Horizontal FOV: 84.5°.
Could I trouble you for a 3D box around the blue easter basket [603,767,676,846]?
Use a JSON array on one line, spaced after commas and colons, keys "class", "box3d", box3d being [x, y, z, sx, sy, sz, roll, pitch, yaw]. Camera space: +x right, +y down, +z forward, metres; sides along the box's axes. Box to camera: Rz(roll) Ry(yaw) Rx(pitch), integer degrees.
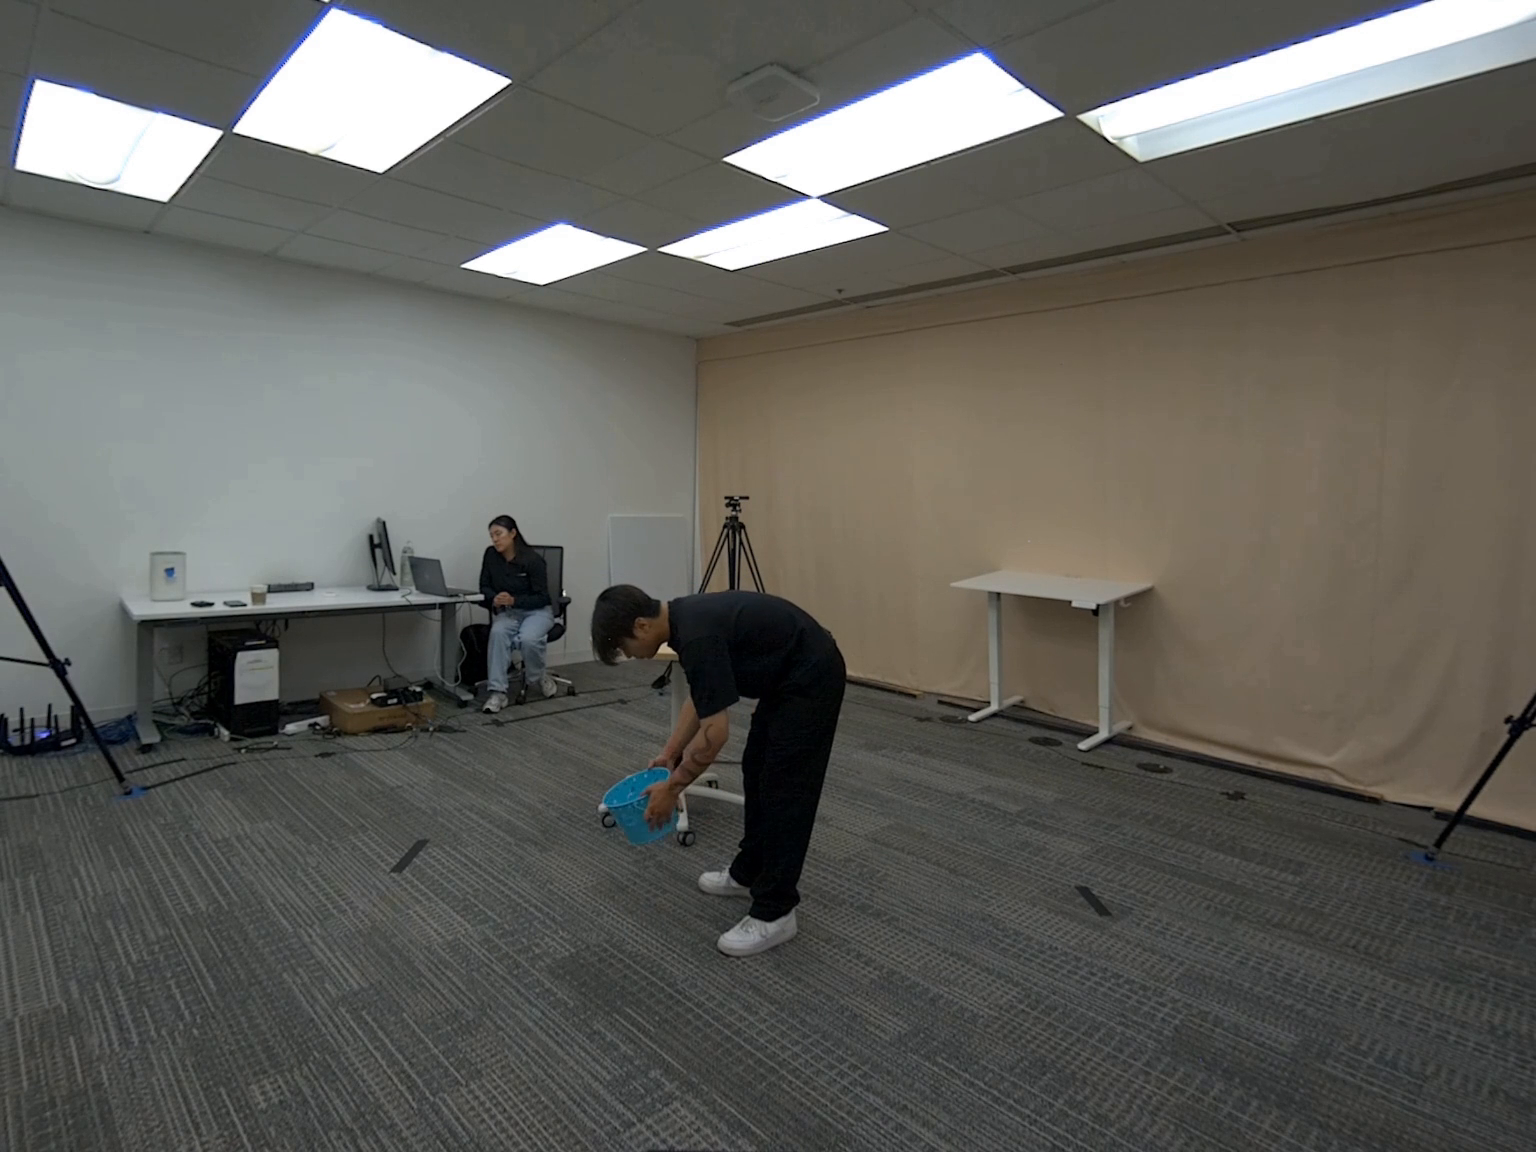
[{"class": "blue easter basket", "box3d": [-0.409, 0.743, 2.728, 0.244, 0.154, 0.245, -19, 9, 2]}]
